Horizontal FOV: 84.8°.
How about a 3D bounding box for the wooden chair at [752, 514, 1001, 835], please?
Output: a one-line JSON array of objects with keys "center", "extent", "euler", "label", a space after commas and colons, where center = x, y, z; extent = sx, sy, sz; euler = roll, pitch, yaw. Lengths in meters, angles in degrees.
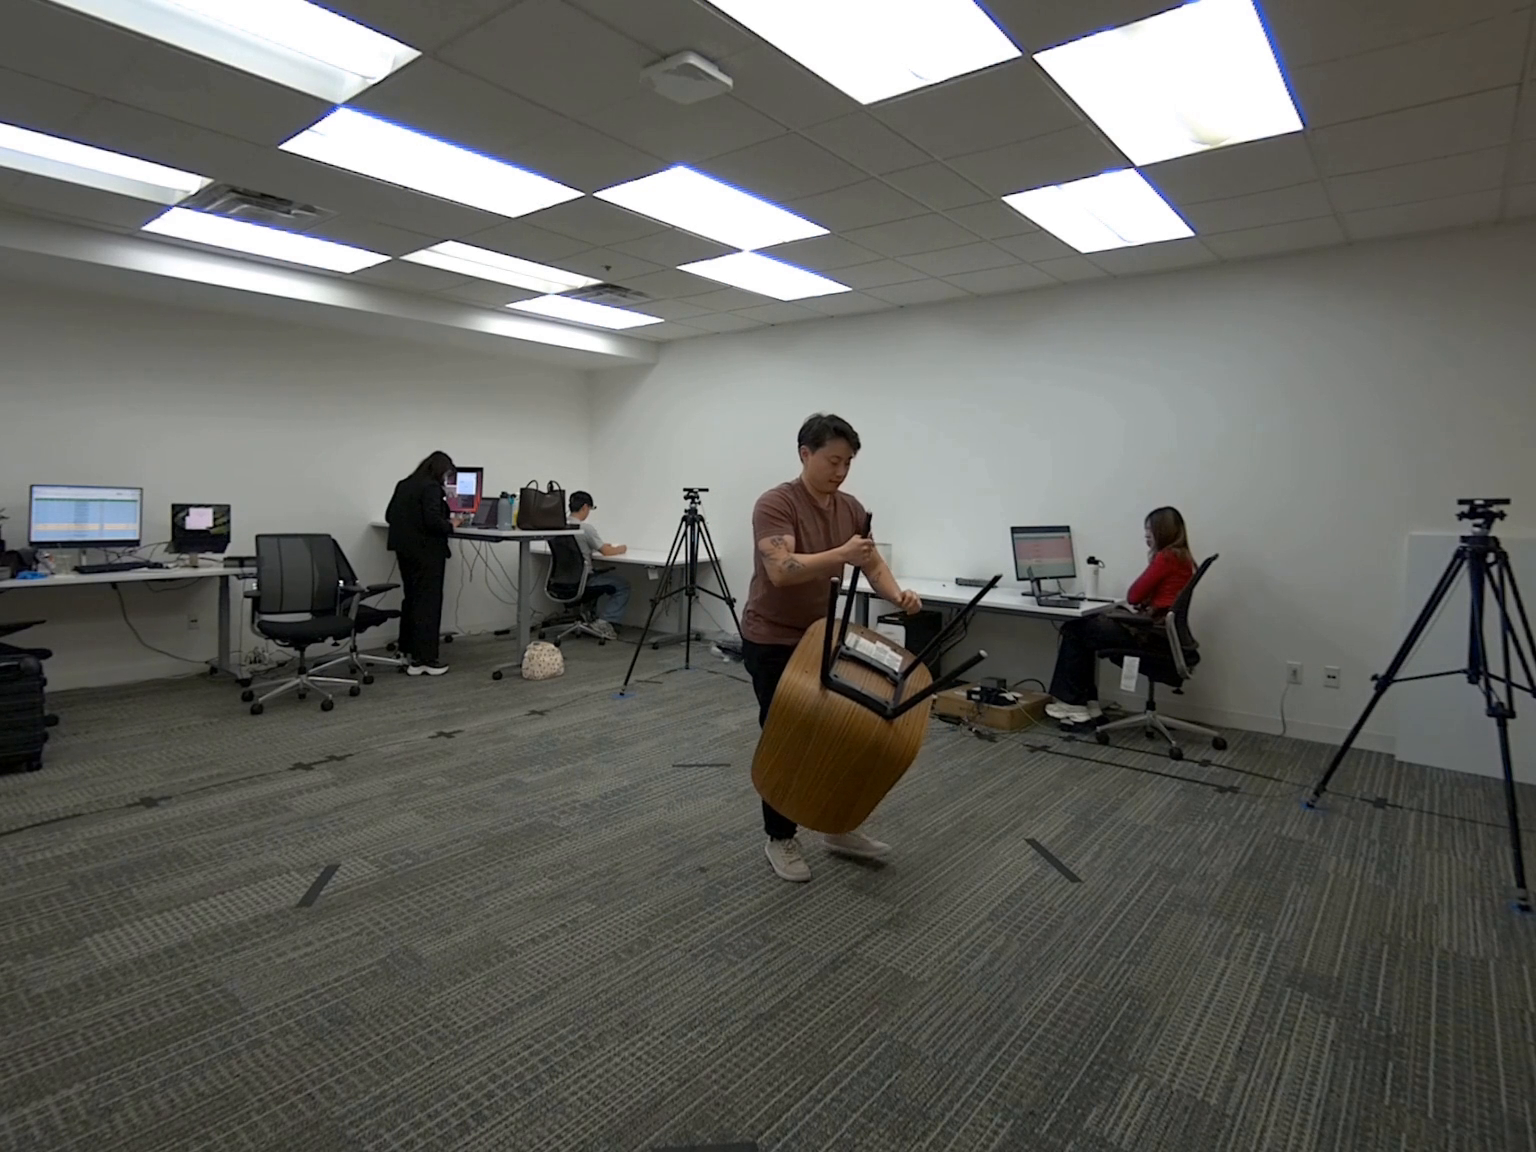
[{"center": [0.302, 0.321, 2.700], "extent": [0.483, 0.866, 0.524], "euler": [27, 30, 6], "label": "wooden chair"}]
